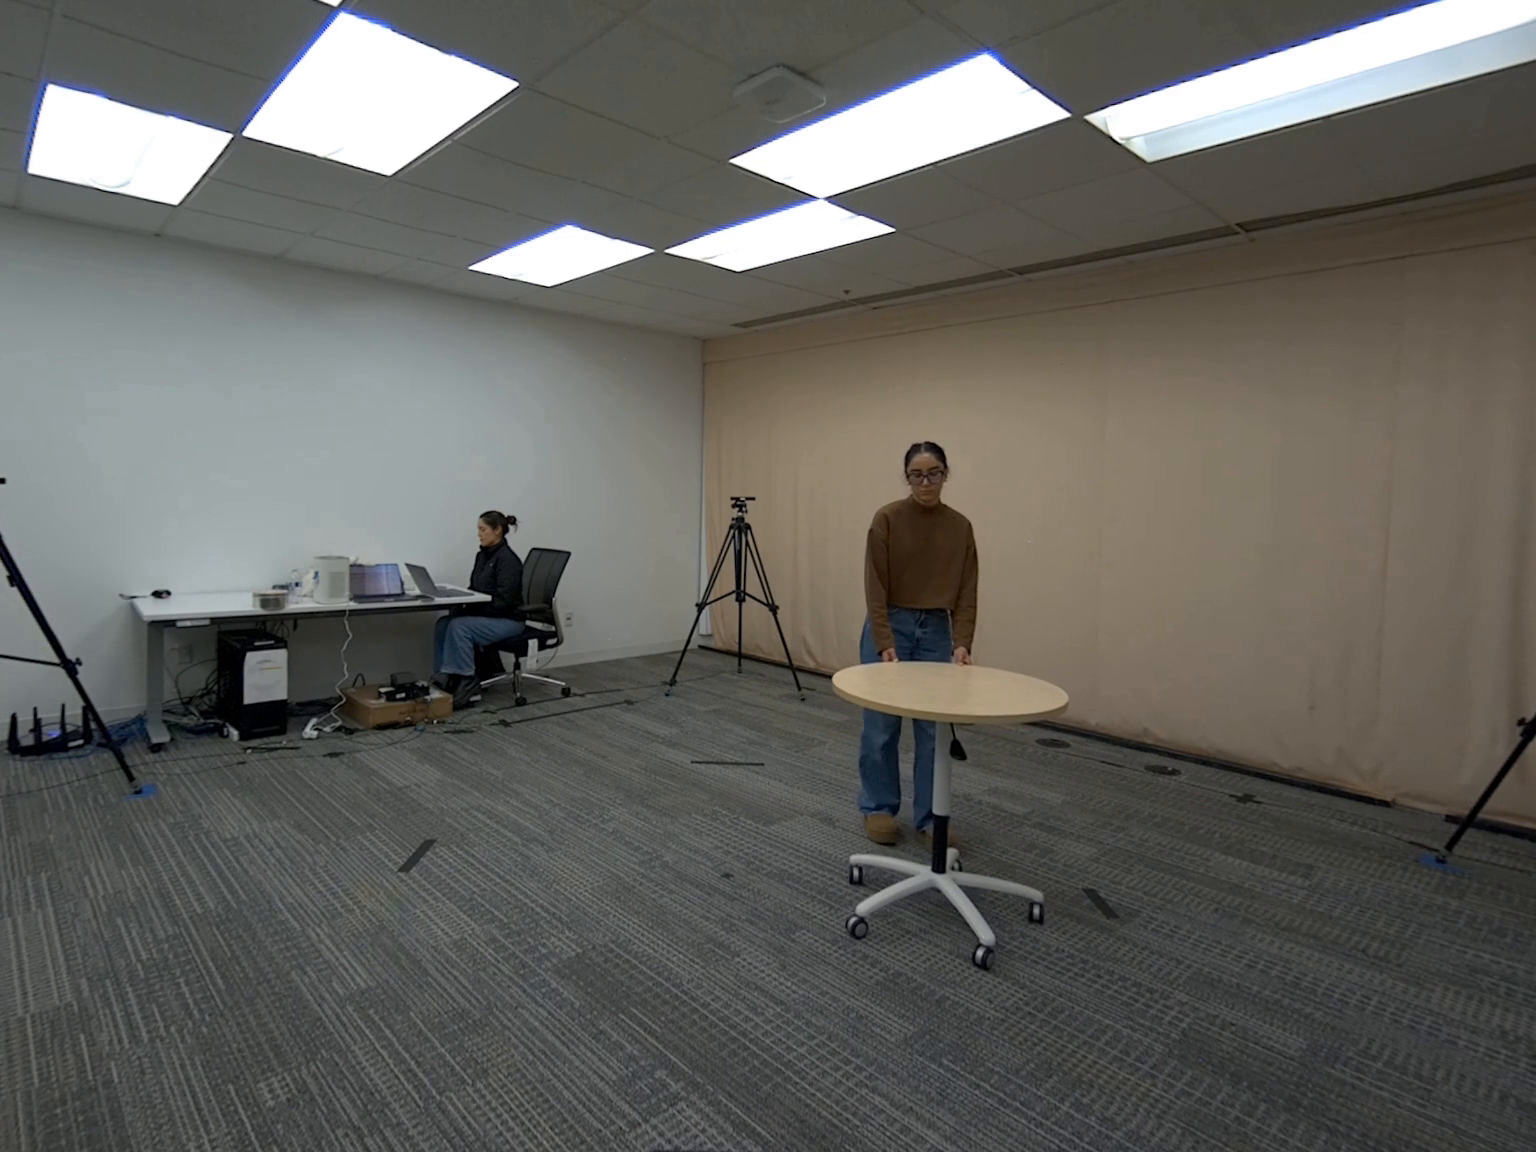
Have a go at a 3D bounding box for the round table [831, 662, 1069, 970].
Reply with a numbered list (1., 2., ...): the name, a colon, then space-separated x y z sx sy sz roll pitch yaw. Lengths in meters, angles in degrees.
1. round table: 0.576 0.762 2.851 0.763 0.792 0.767 2 4 -1
